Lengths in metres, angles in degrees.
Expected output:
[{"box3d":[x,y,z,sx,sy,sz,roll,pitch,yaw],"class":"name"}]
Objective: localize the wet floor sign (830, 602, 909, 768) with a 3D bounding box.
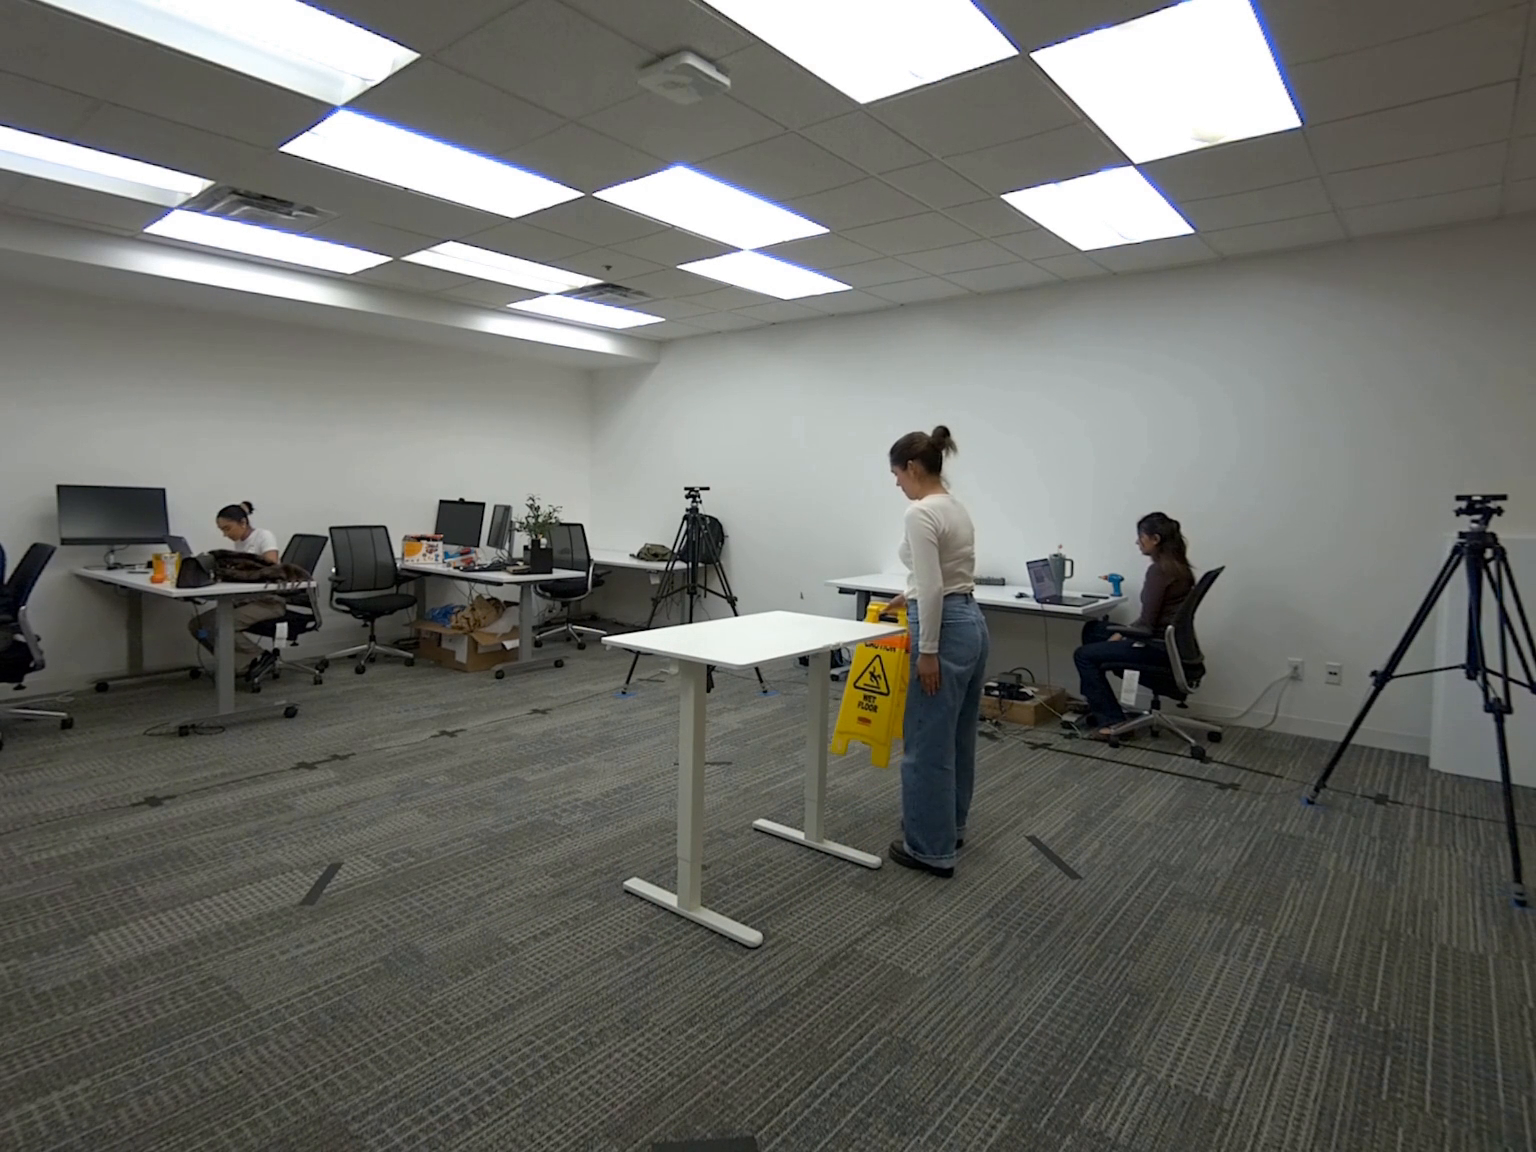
[{"box3d":[0.481,0.440,3.635,0.292,0.645,0.280,7,2,38],"class":"wet floor sign"}]
